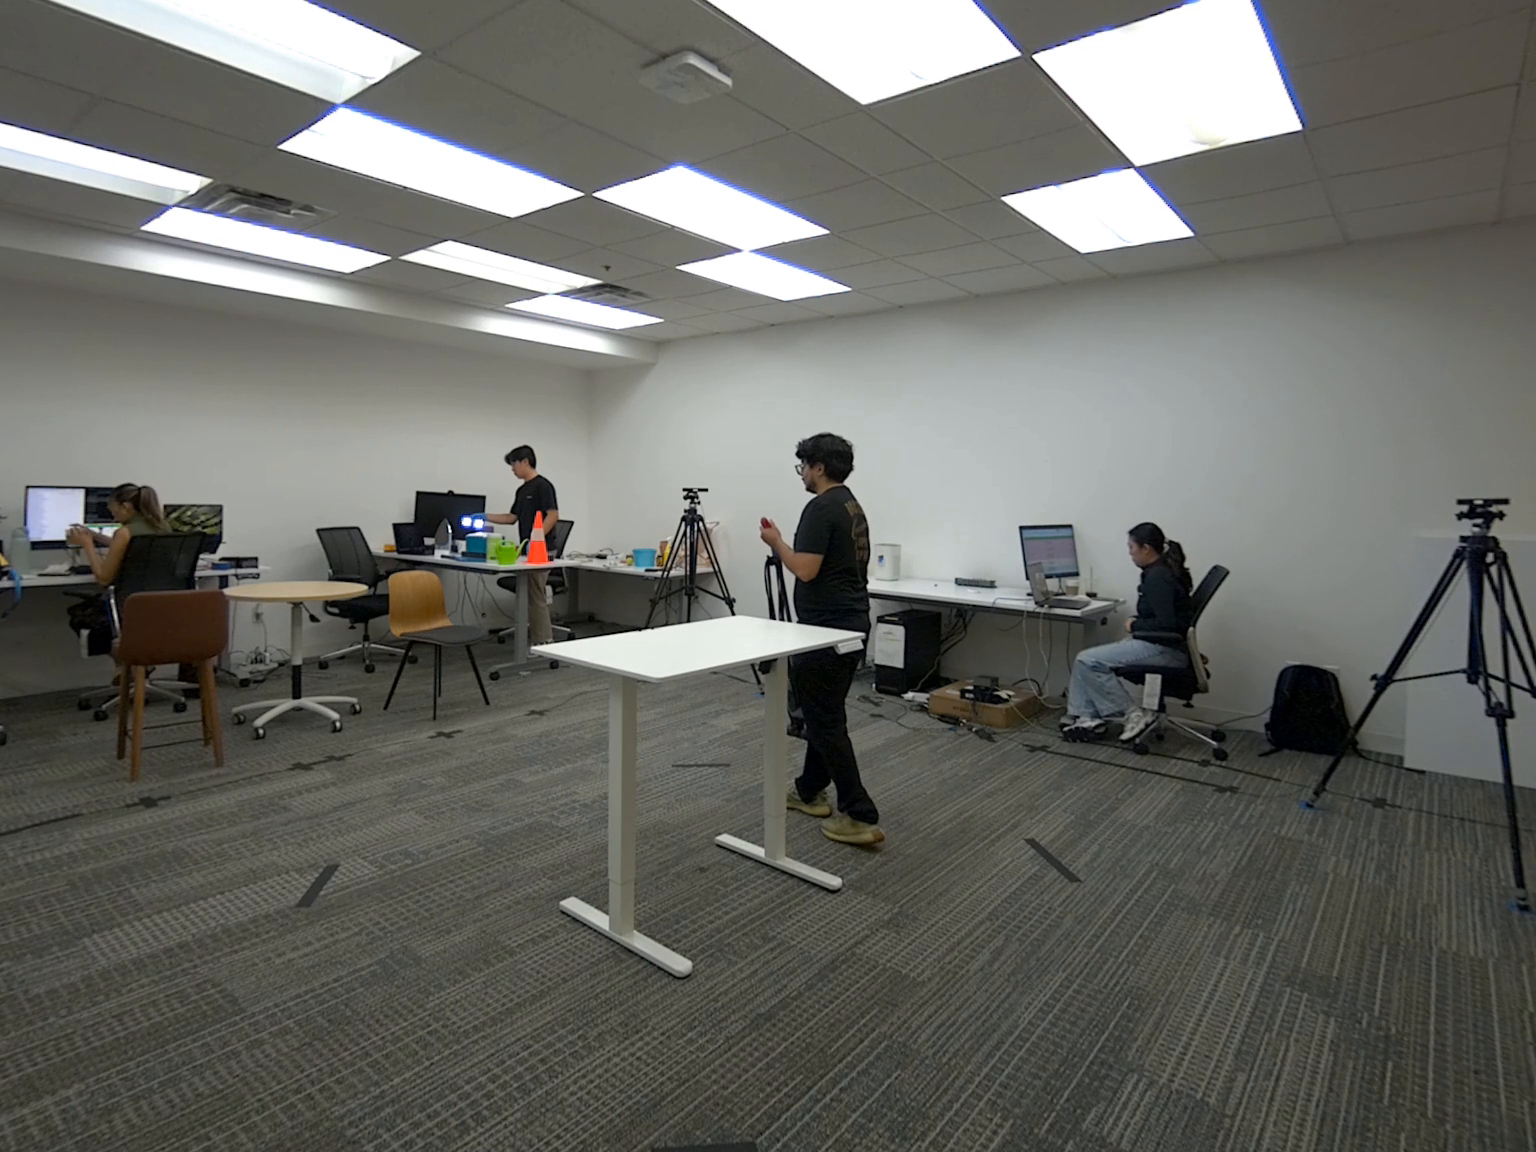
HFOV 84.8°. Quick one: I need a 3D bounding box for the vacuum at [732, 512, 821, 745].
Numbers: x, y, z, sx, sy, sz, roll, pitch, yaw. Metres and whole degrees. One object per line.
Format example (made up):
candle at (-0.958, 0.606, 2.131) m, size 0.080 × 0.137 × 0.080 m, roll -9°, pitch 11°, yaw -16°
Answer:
vacuum at (0.070, 0.238, 3.709) m, size 0.260 × 1.029 × 0.142 m, roll 4°, pitch 22°, yaw 34°
